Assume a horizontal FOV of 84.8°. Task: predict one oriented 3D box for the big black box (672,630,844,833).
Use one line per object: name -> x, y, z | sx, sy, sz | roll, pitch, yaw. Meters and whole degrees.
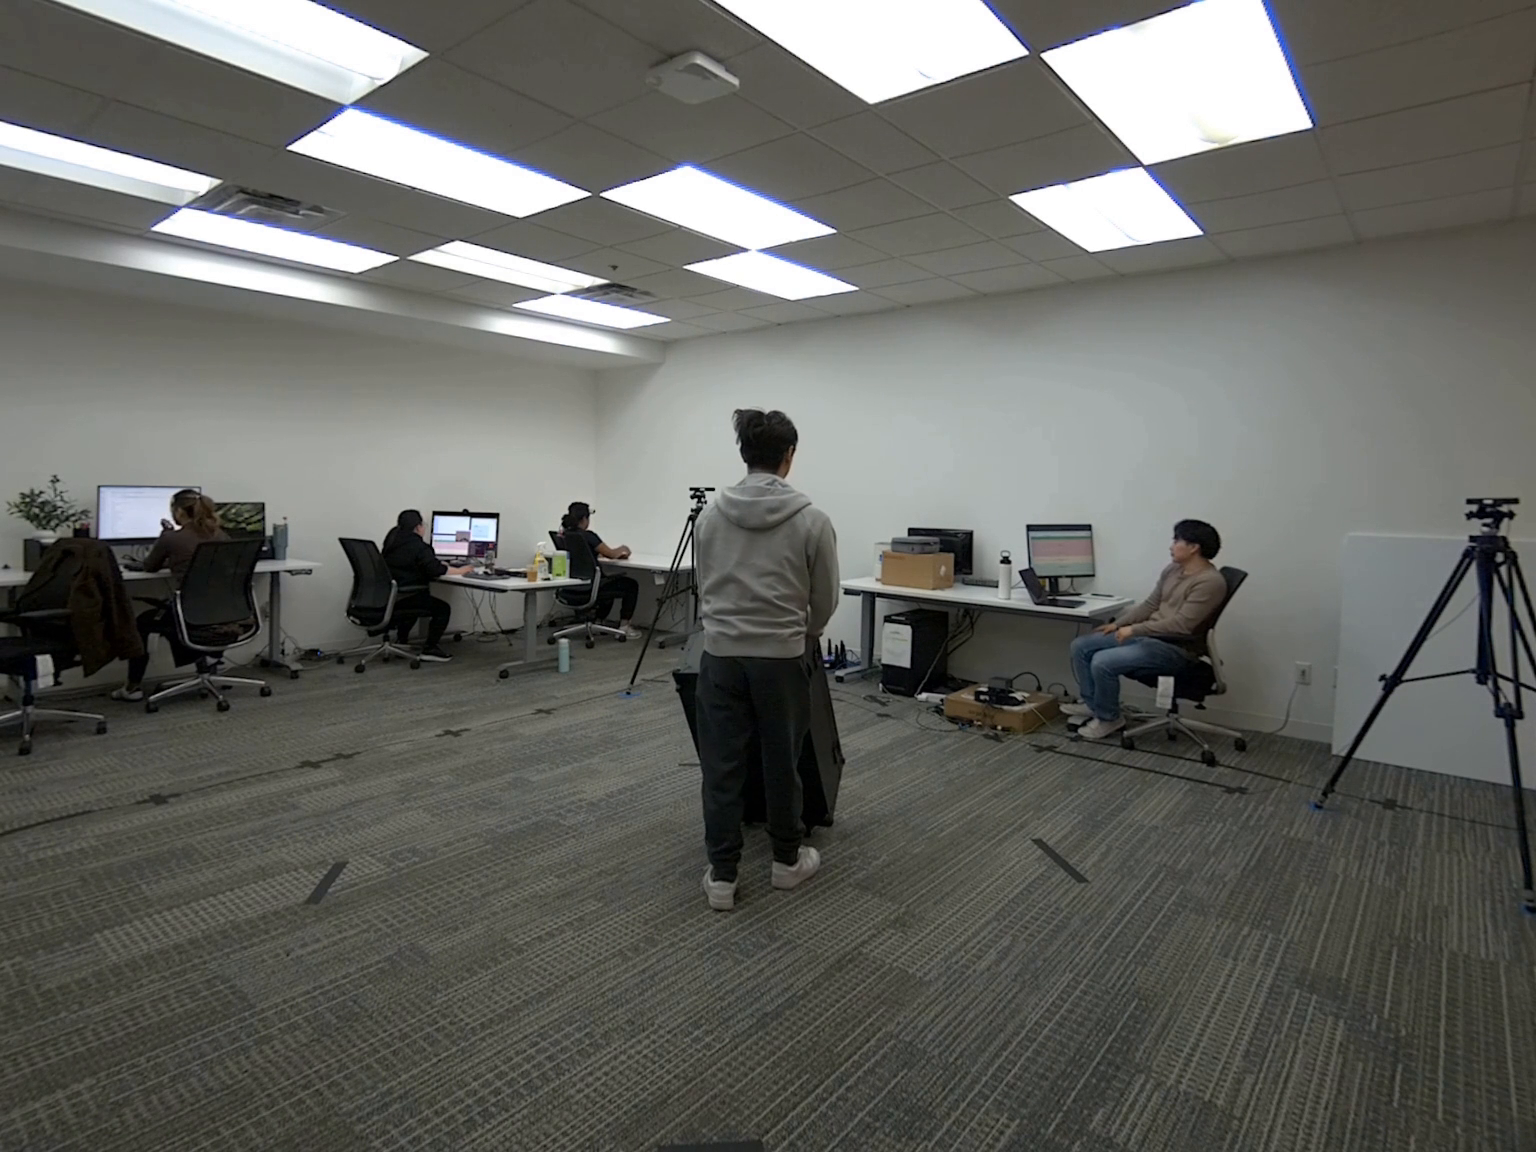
big black box -> -0.015, 0.606, 3.397 | 0.531, 0.836, 0.401 | -2, 32, 18
